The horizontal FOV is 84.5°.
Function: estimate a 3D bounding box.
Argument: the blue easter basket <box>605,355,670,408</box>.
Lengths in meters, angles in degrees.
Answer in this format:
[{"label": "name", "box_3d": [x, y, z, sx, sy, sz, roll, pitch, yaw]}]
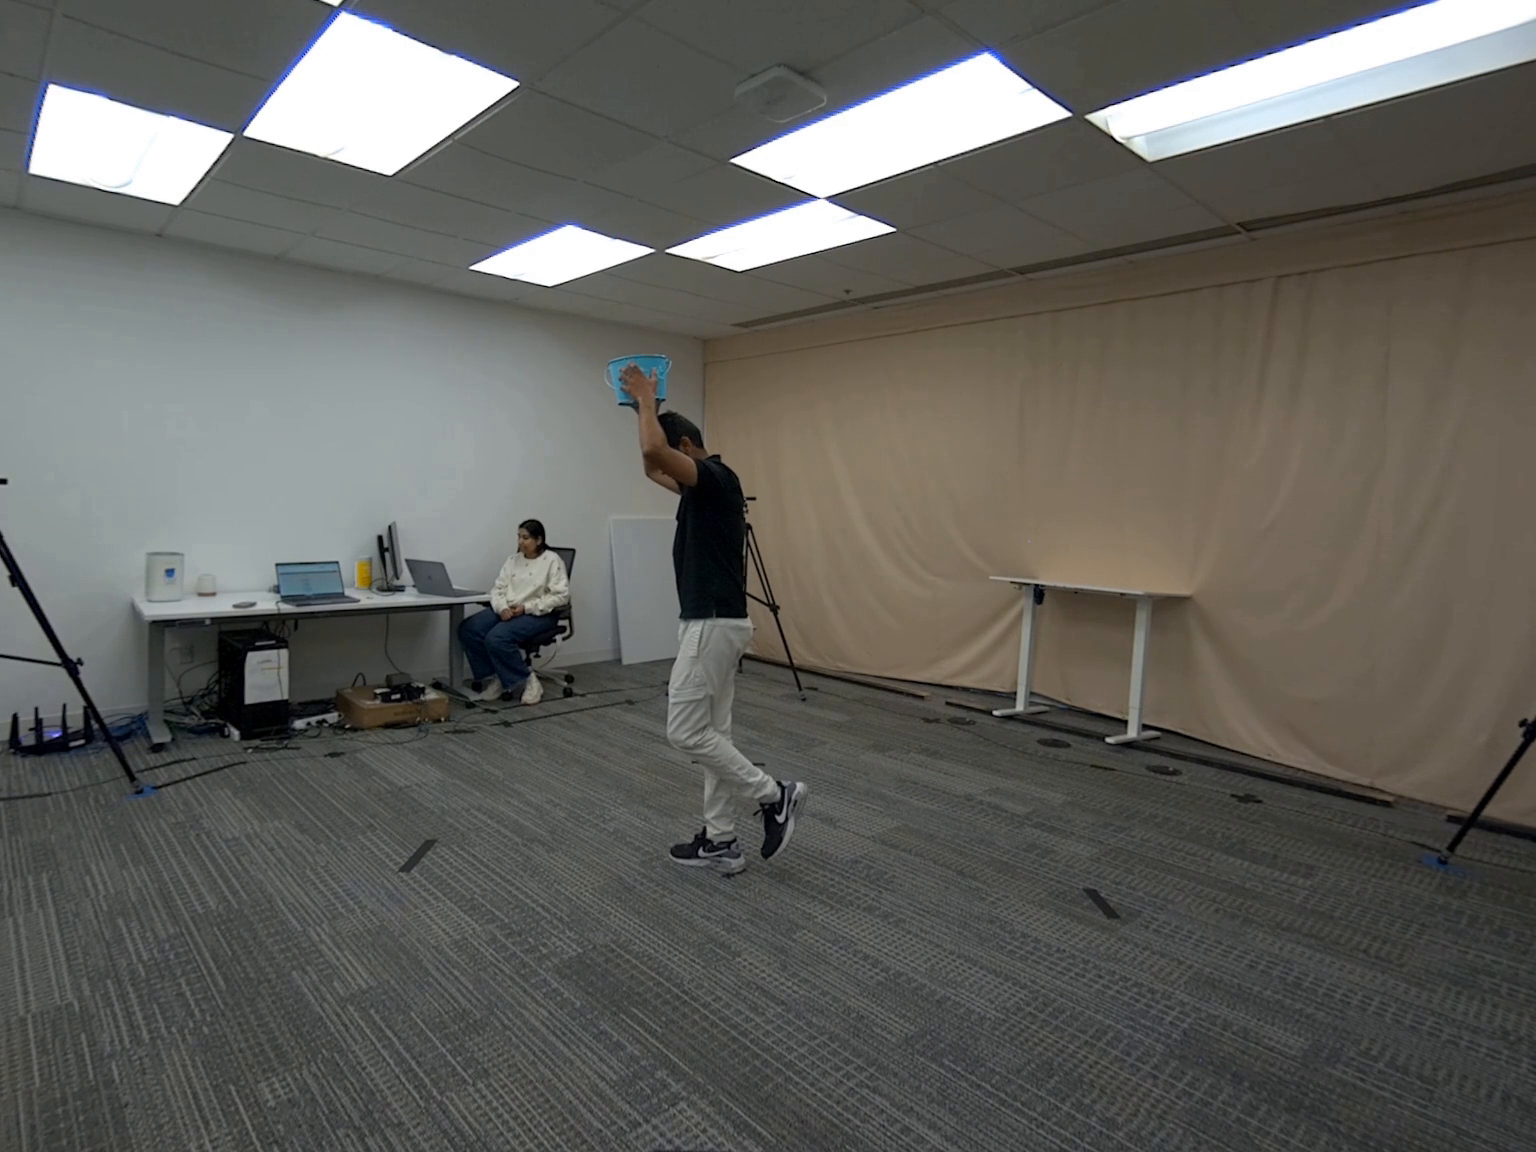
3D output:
[{"label": "blue easter basket", "box_3d": [-0.486, -0.726, 3.145, 0.243, 0.155, 0.244, -9, 4, -1]}]
